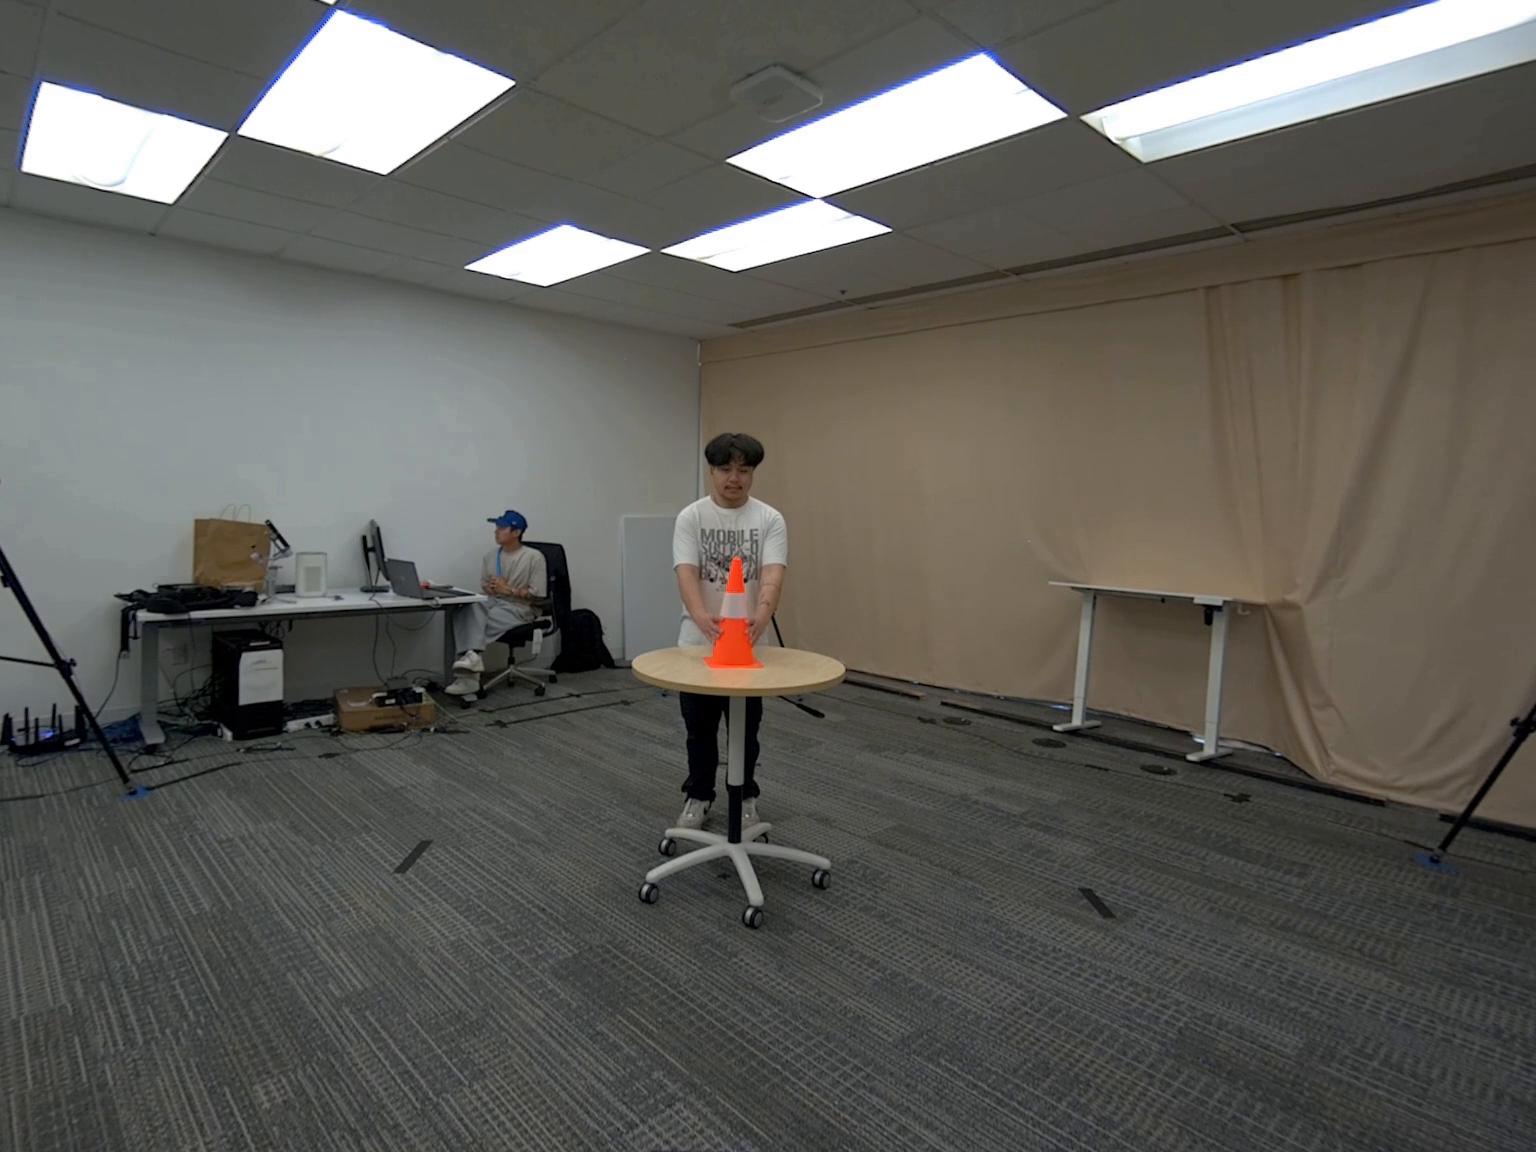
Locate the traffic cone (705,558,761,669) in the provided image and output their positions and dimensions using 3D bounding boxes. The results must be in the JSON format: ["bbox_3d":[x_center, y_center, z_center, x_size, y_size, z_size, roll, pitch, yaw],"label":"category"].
[{"bbox_3d":[-0.126,0.128,3.044,0.198,0.383,0.210,-1,6,-45],"label":"traffic cone"}]
